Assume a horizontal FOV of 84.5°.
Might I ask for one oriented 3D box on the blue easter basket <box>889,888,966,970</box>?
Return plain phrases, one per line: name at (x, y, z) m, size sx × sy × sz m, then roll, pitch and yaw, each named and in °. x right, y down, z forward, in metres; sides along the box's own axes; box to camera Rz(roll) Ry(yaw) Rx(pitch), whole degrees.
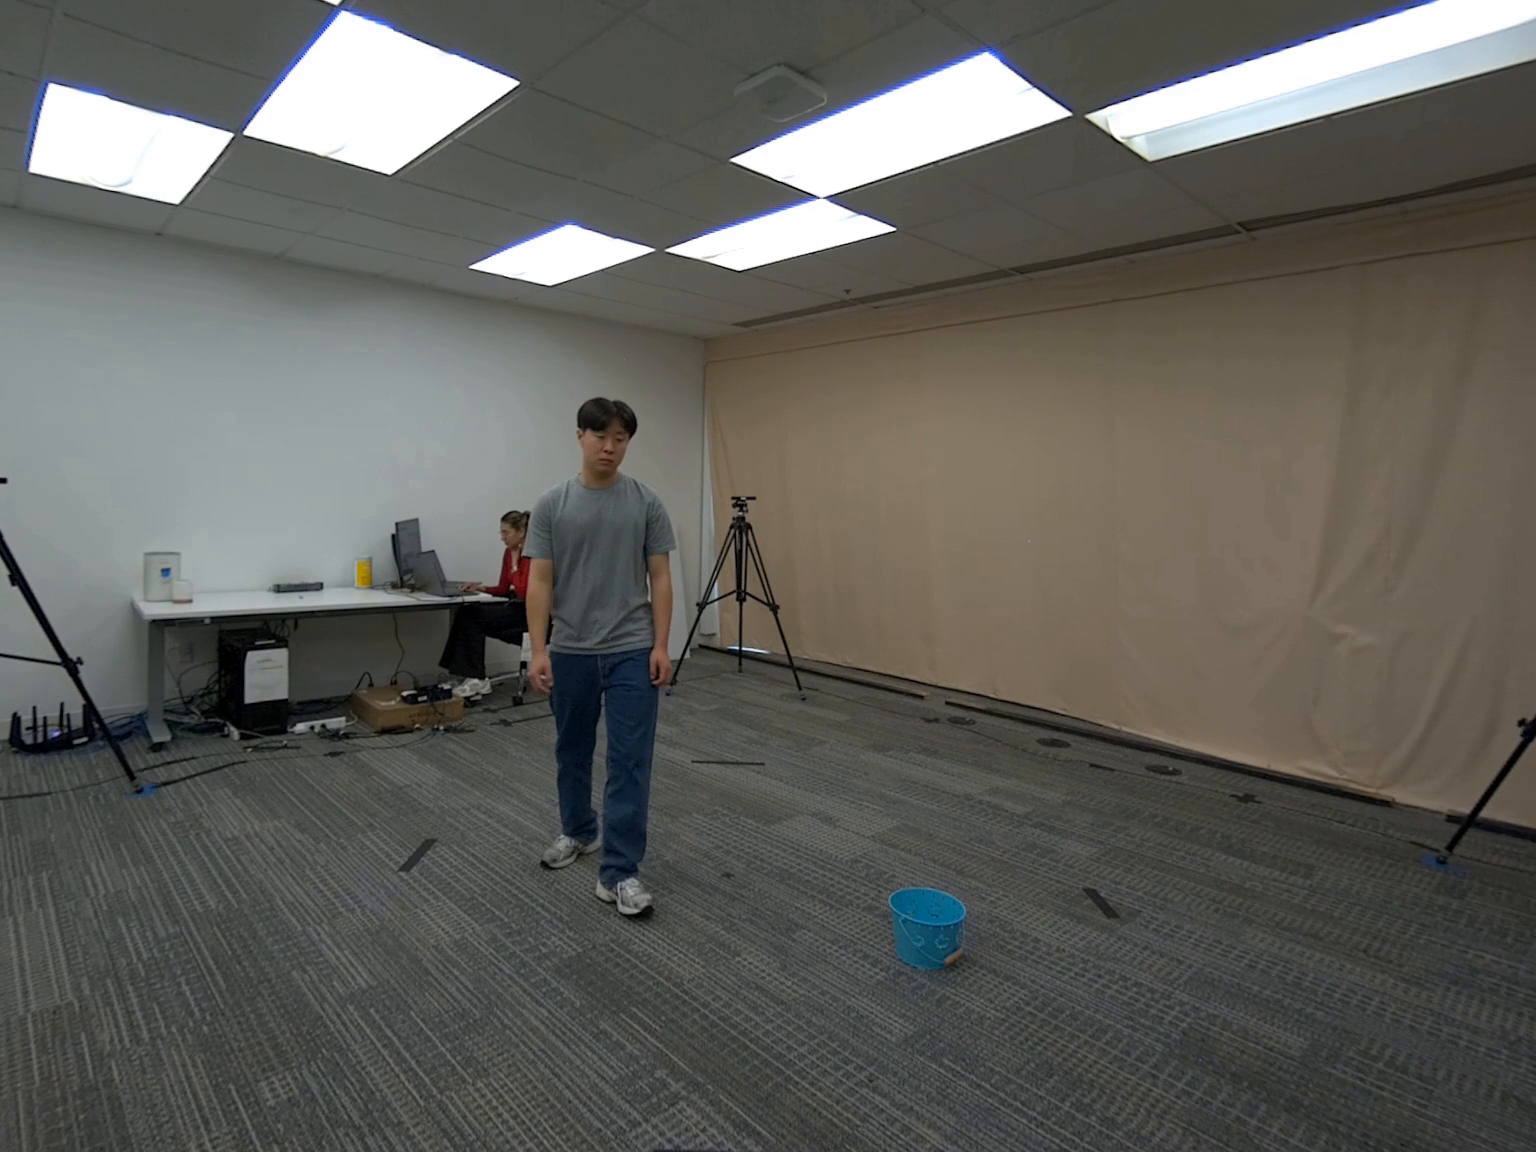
blue easter basket at (0.482, 1.089, 2.594) m, size 0.243 × 0.155 × 0.244 m, roll 2°, pitch 4°, yaw -1°
